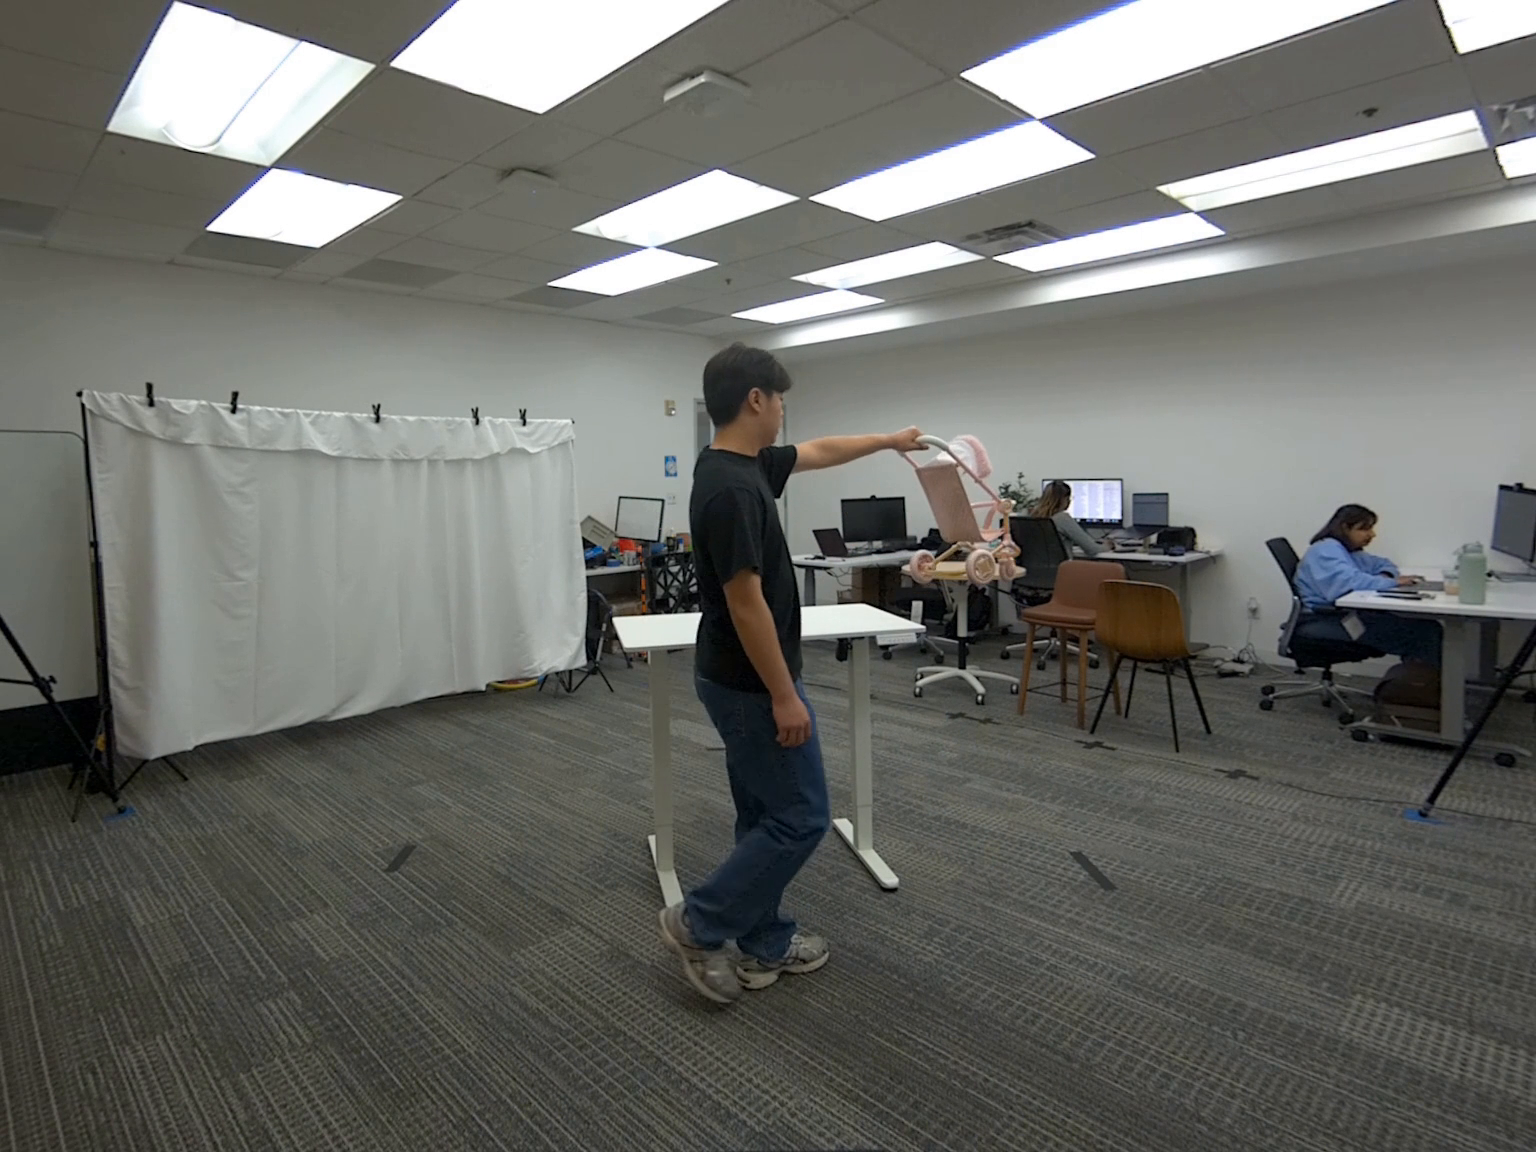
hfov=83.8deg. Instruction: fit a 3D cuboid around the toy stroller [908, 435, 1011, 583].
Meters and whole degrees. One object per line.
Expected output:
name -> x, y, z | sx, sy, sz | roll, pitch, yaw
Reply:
toy stroller -> 0.629, -0.205, 2.726 | 0.336, 0.532, 0.287 | -15, 5, -25
